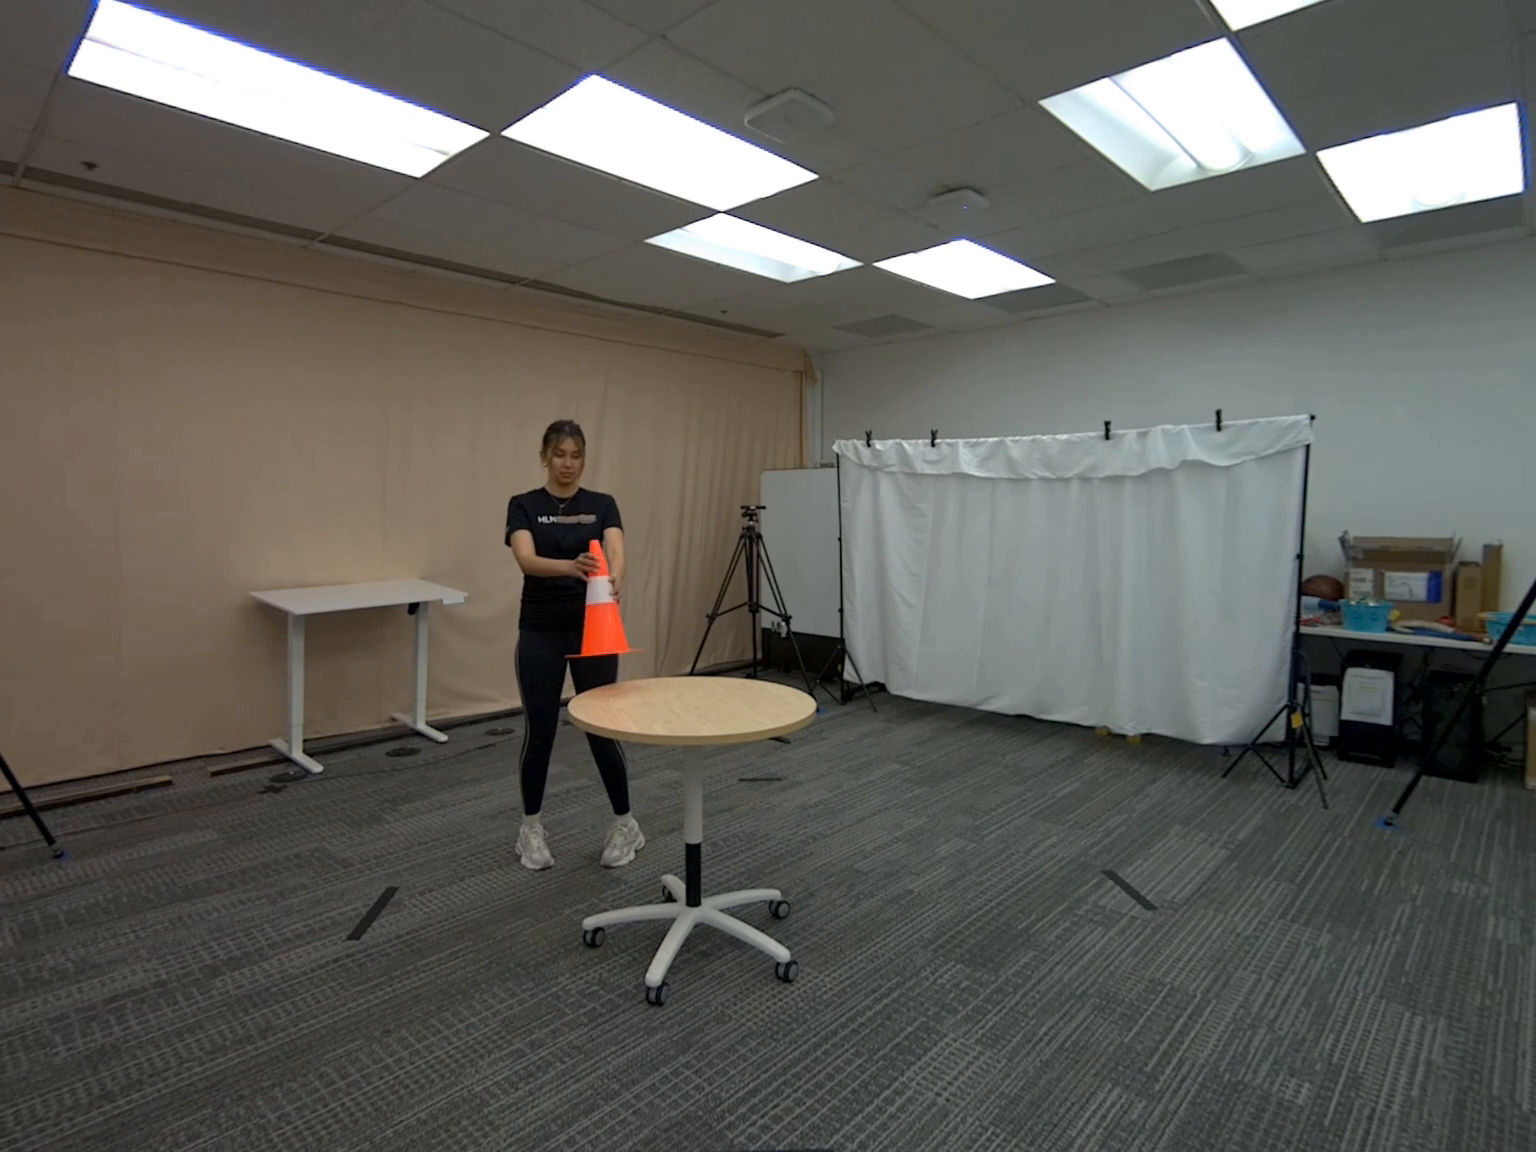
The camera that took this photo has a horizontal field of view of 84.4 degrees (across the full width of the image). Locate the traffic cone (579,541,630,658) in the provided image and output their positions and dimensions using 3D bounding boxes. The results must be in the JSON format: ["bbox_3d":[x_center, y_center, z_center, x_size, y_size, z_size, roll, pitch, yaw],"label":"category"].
[{"bbox_3d":[-0.566,0.076,2.823,0.208,0.385,0.199,-7,-5,28],"label":"traffic cone"}]
